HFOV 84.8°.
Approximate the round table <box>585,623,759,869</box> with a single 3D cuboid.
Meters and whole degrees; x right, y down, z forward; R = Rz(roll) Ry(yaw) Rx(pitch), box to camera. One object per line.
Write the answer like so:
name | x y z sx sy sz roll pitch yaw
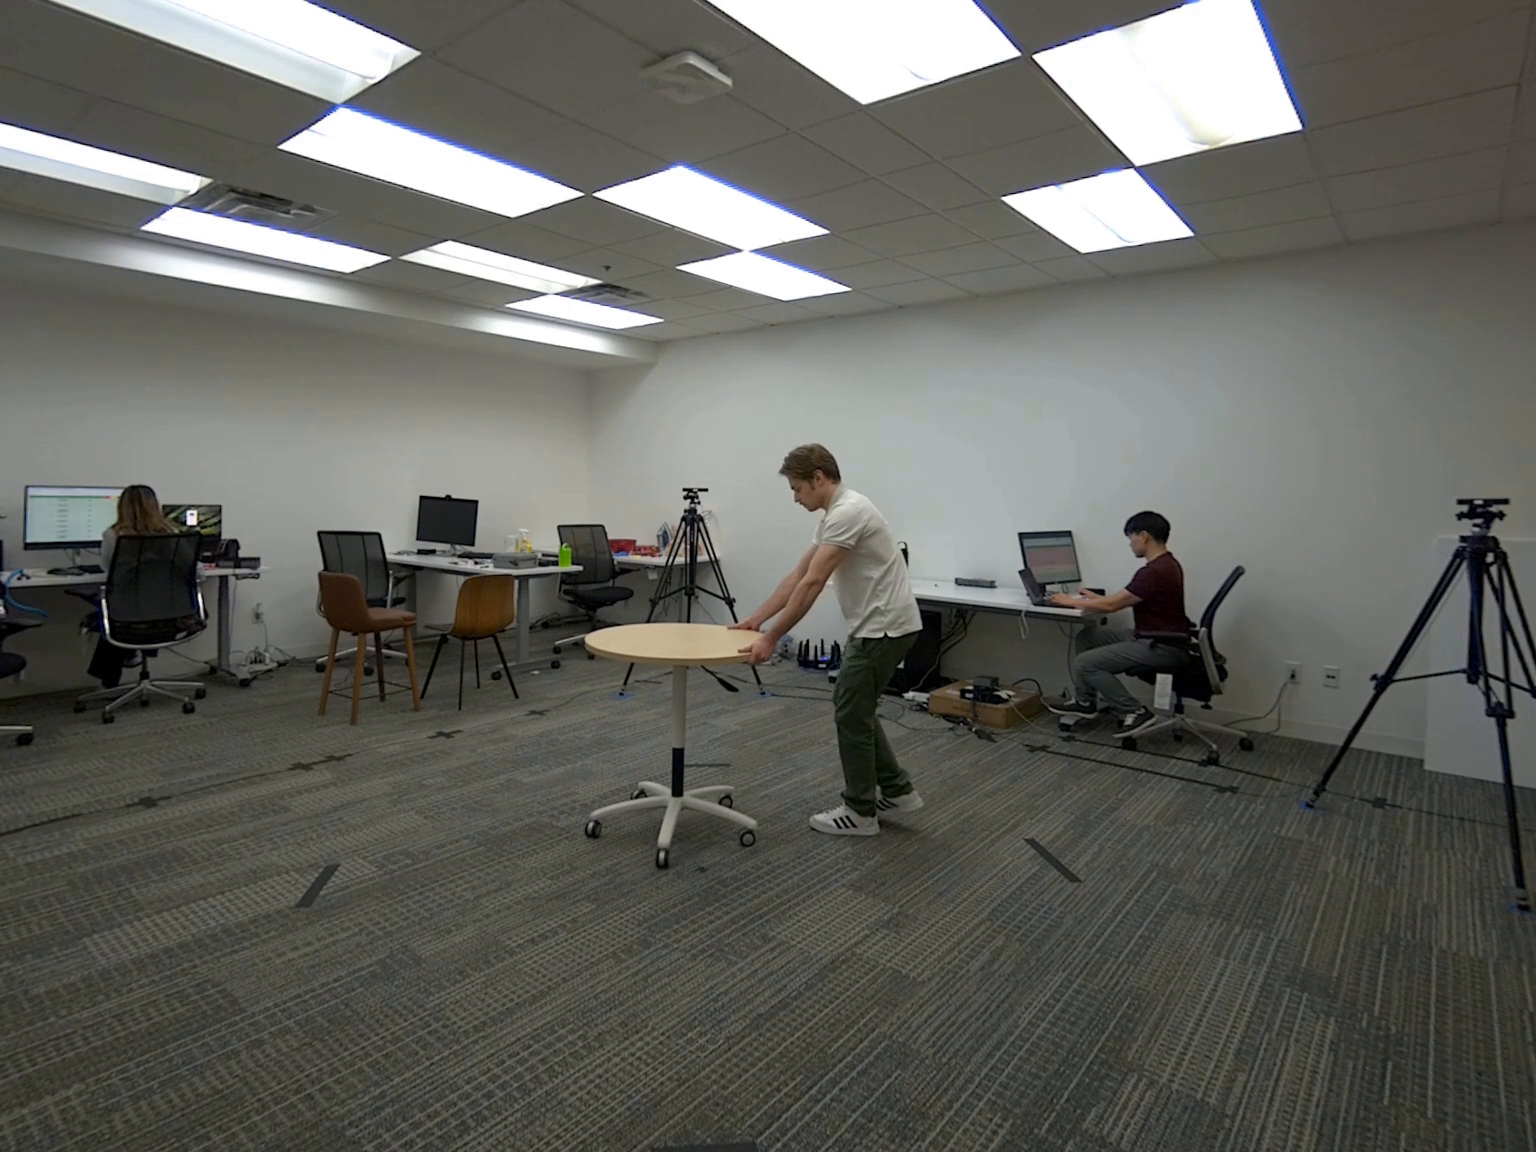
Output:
round table | -0.364 0.640 3.464 0.784 0.784 0.789 1 5 -2
